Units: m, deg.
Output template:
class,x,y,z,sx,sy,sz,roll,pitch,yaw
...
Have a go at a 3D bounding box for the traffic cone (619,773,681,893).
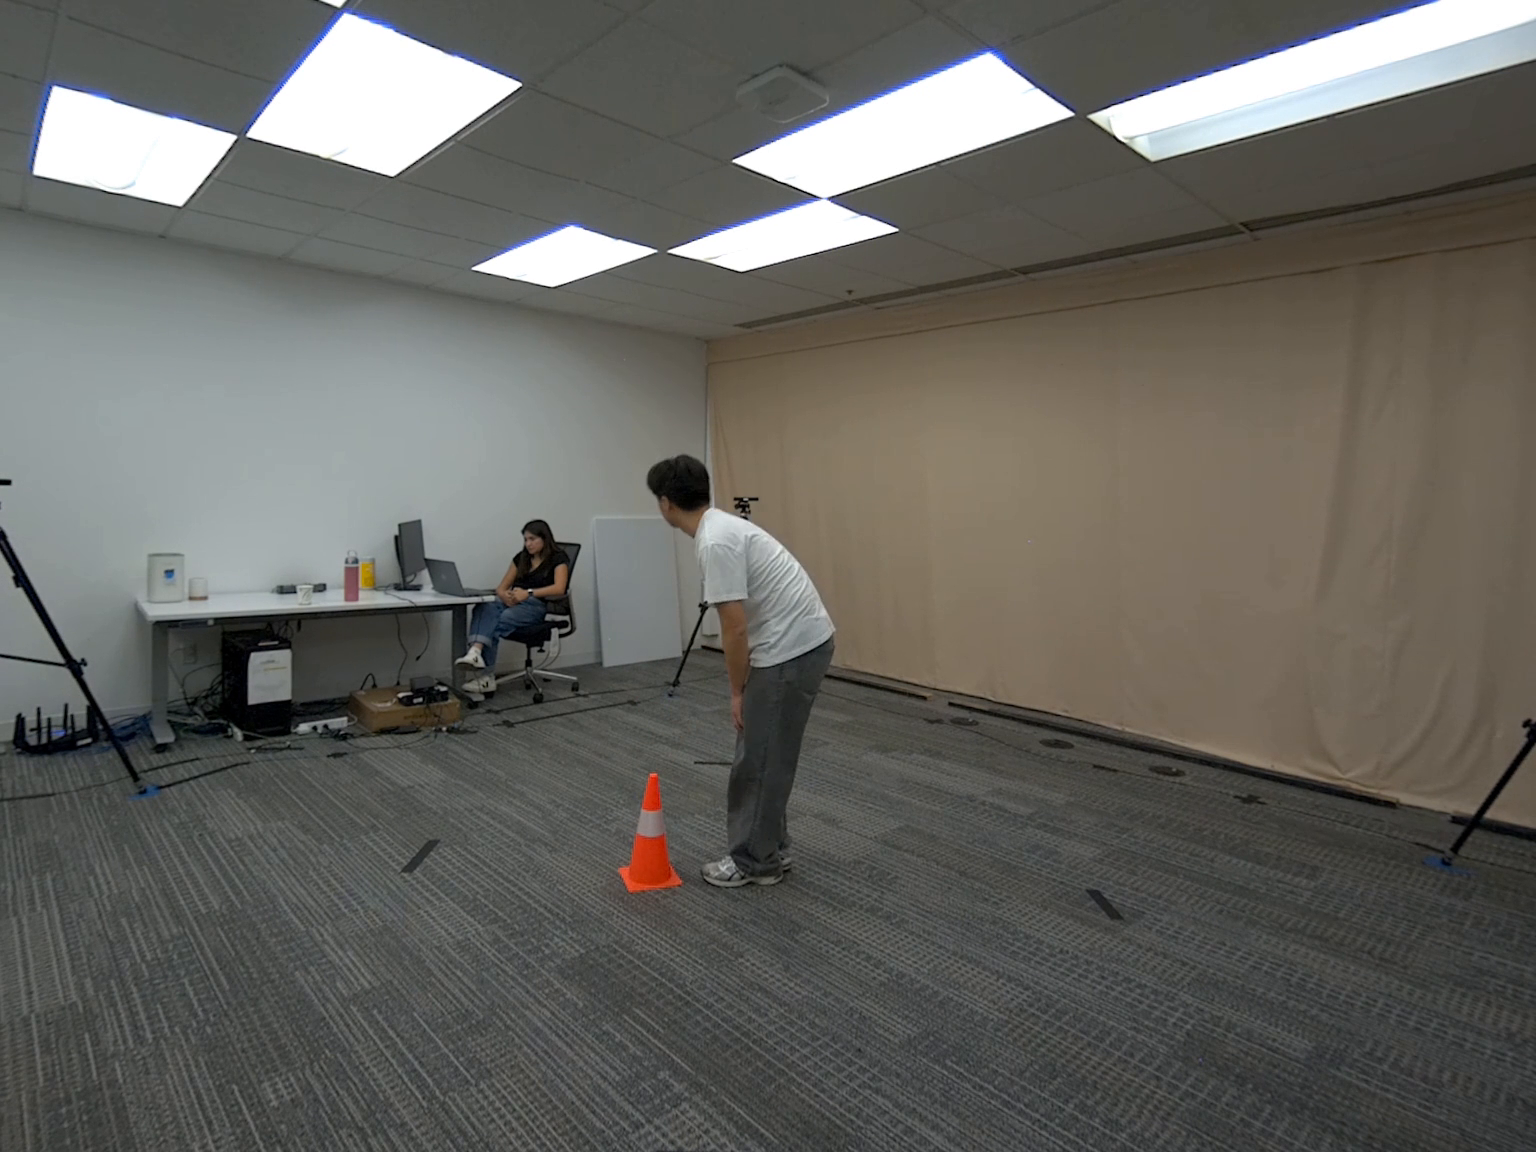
class,x,y,z,sx,sy,sz,roll,pitch,yaw
traffic cone,-0.422,0.917,3.080,0.202,0.383,0.207,3,3,-21
